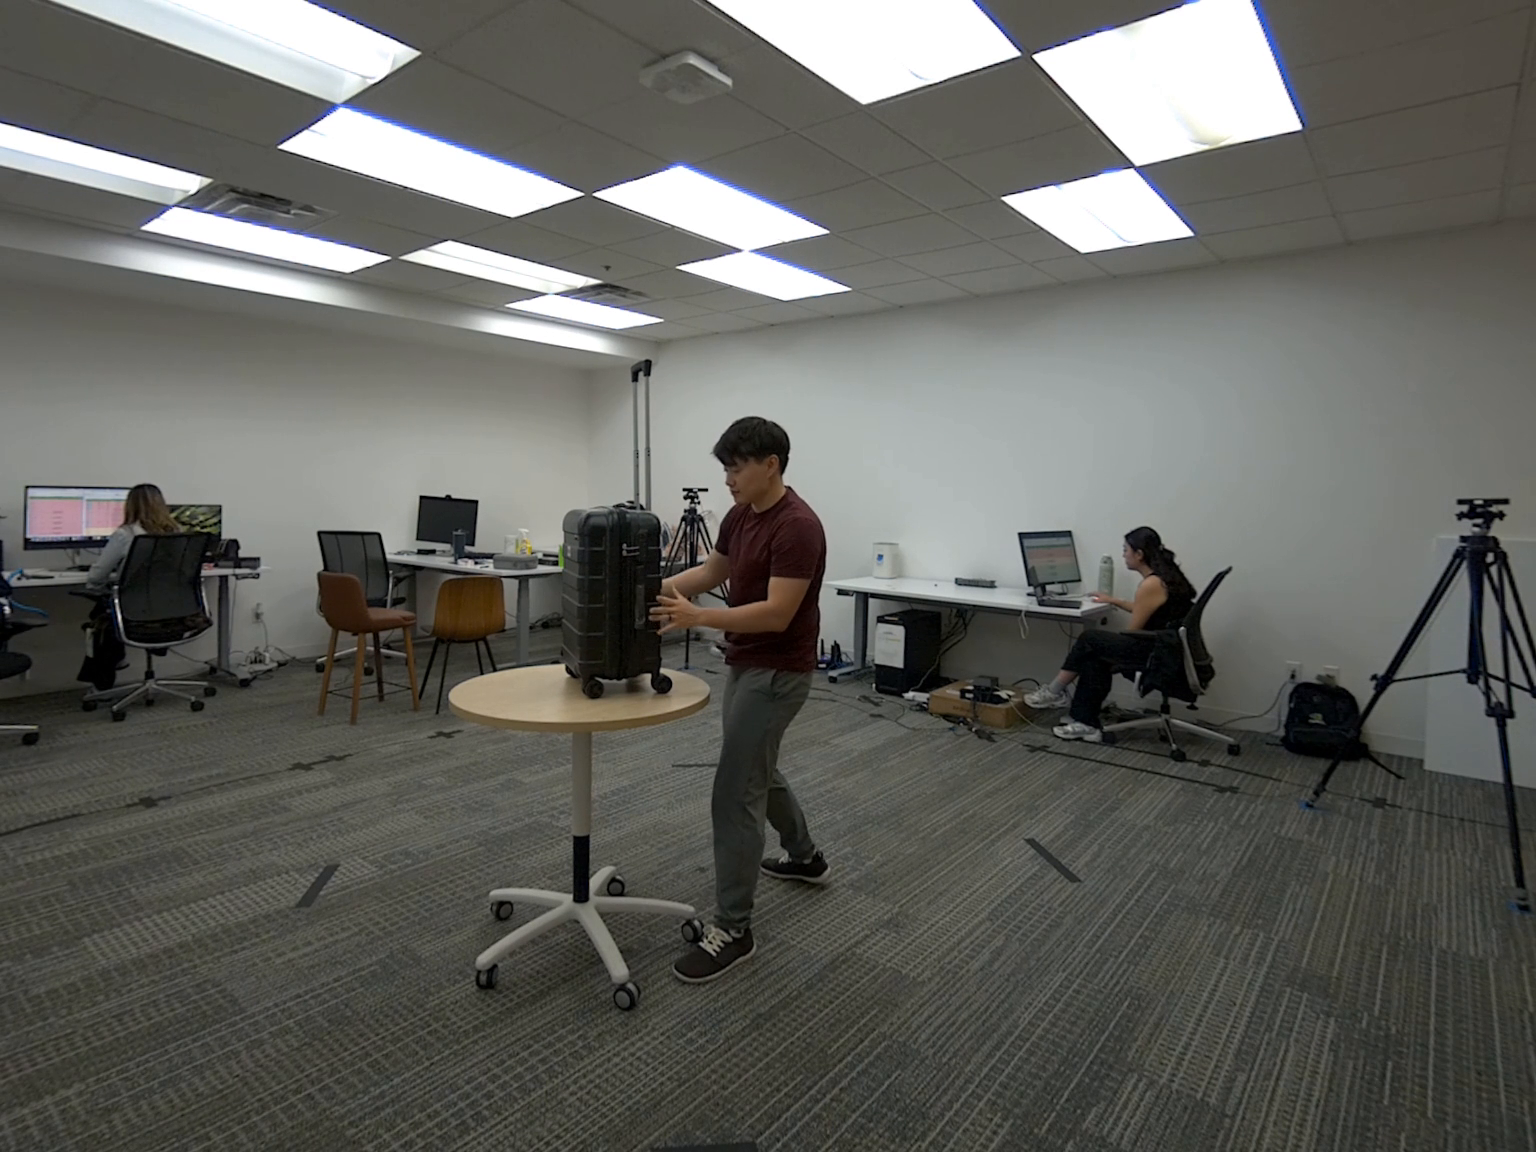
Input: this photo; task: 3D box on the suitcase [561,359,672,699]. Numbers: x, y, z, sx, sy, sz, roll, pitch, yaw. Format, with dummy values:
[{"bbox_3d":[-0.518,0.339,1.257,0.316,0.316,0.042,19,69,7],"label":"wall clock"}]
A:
[{"bbox_3d":[-0.489,-0.149,2.572,0.252,0.977,0.391,-2,2,-19],"label":"suitcase"}]
